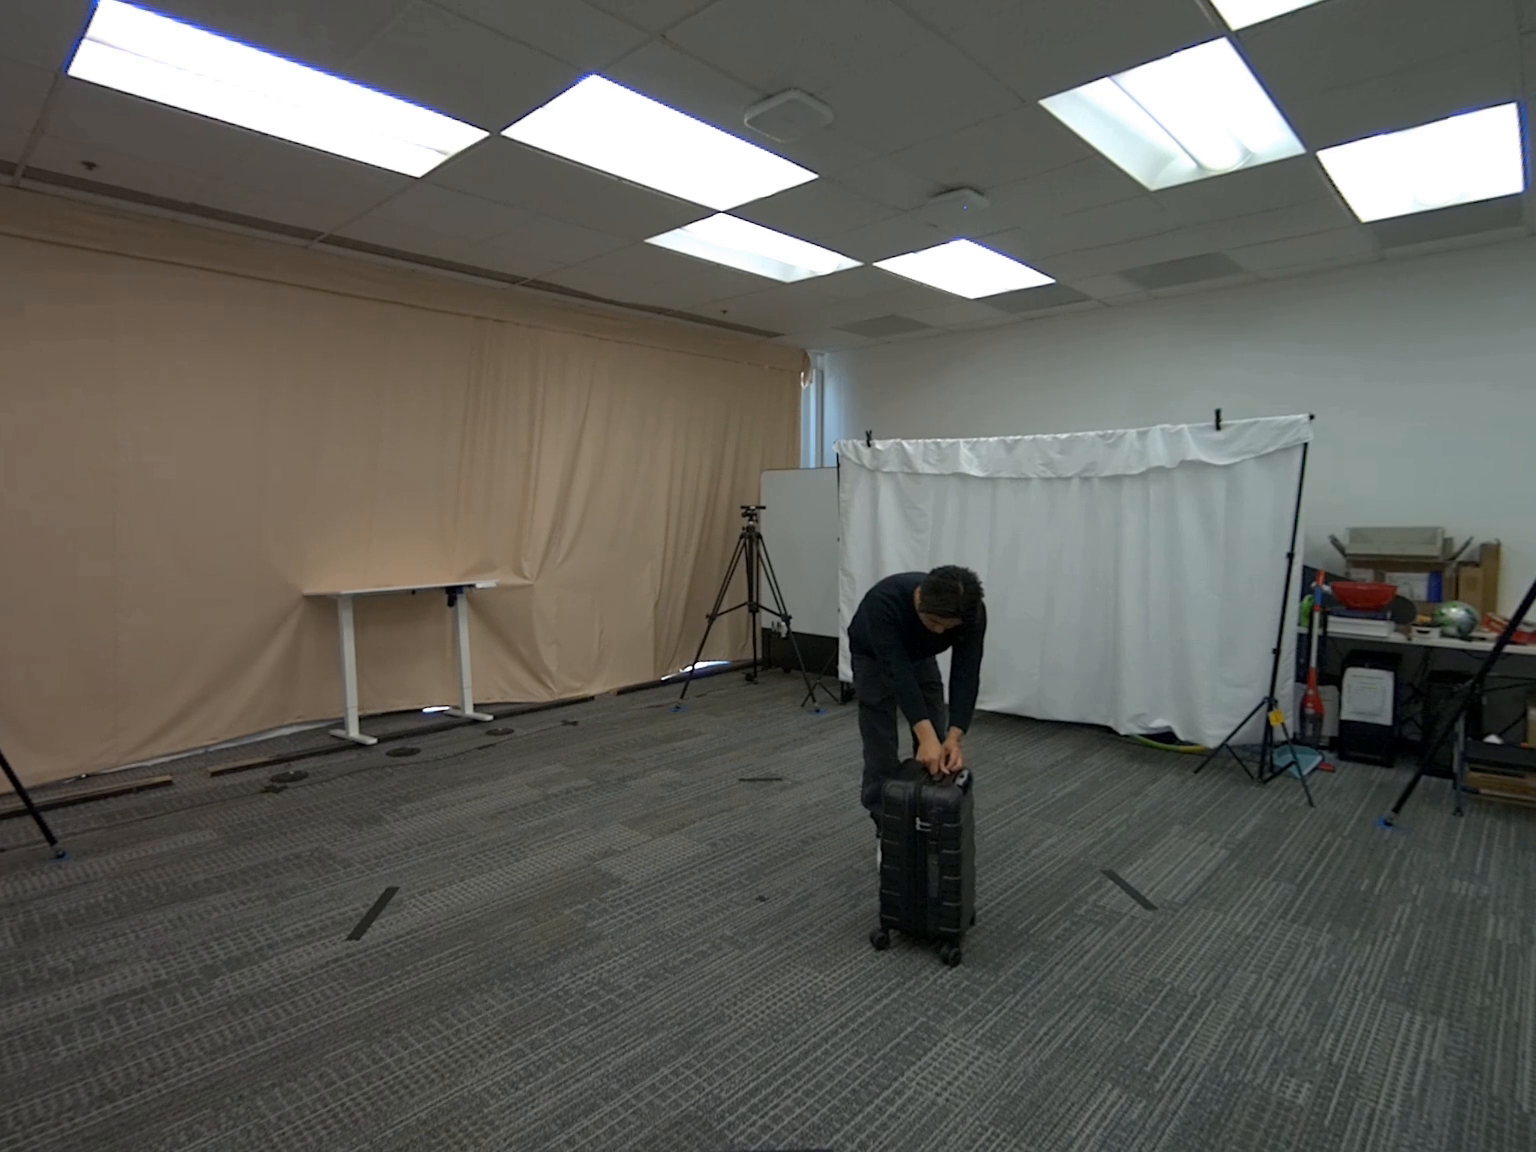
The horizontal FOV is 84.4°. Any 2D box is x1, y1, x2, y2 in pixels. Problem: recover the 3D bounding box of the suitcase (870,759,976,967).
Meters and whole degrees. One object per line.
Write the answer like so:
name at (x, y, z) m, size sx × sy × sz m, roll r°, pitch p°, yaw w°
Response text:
suitcase at (0.524, 0.892, 2.721) m, size 0.254 × 0.549 × 0.367 m, roll 0°, pitch 2°, yaw 24°
